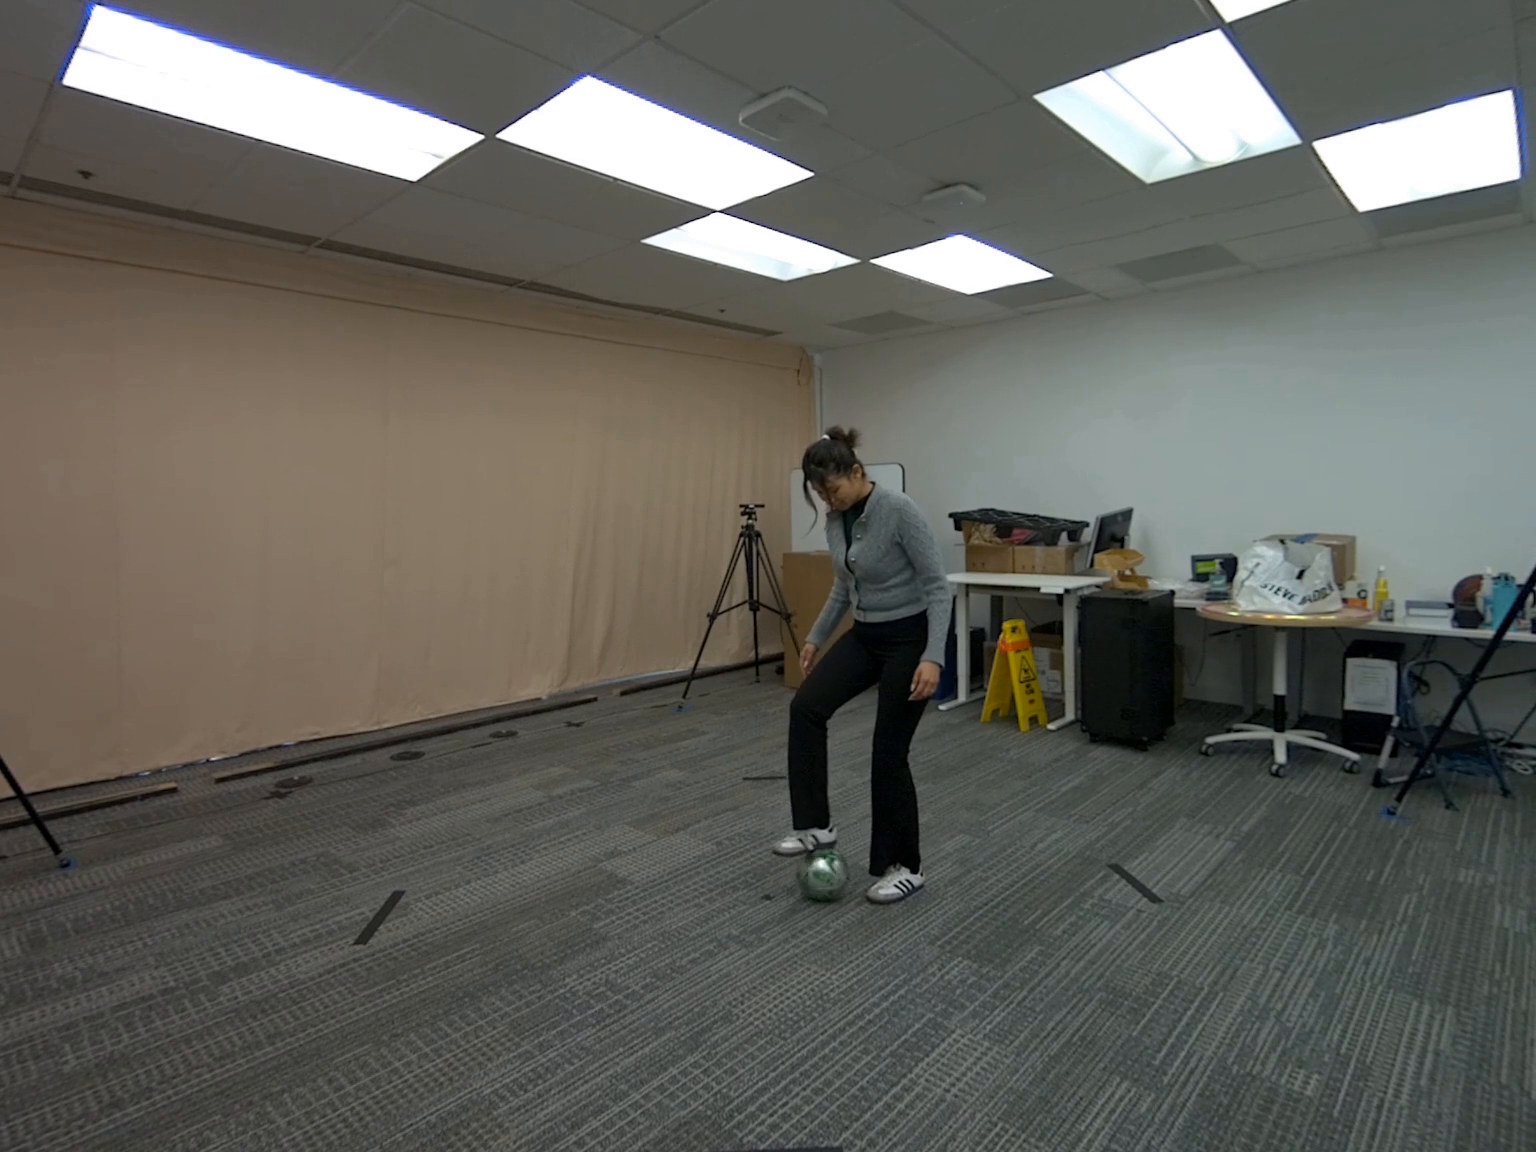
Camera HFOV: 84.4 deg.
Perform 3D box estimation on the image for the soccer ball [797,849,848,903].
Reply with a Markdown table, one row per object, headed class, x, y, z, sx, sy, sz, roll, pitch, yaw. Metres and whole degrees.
| class | x | y | z | sx | sy | sz | roll | pitch | yaw |
| --- | --- | --- | --- | --- | --- | --- | --- | --- | --- |
| soccer ball | 0.188 | 1.051 | 2.984 | 0.187 | 0.187 | 0.188 | -1 | 4 | -2 |
